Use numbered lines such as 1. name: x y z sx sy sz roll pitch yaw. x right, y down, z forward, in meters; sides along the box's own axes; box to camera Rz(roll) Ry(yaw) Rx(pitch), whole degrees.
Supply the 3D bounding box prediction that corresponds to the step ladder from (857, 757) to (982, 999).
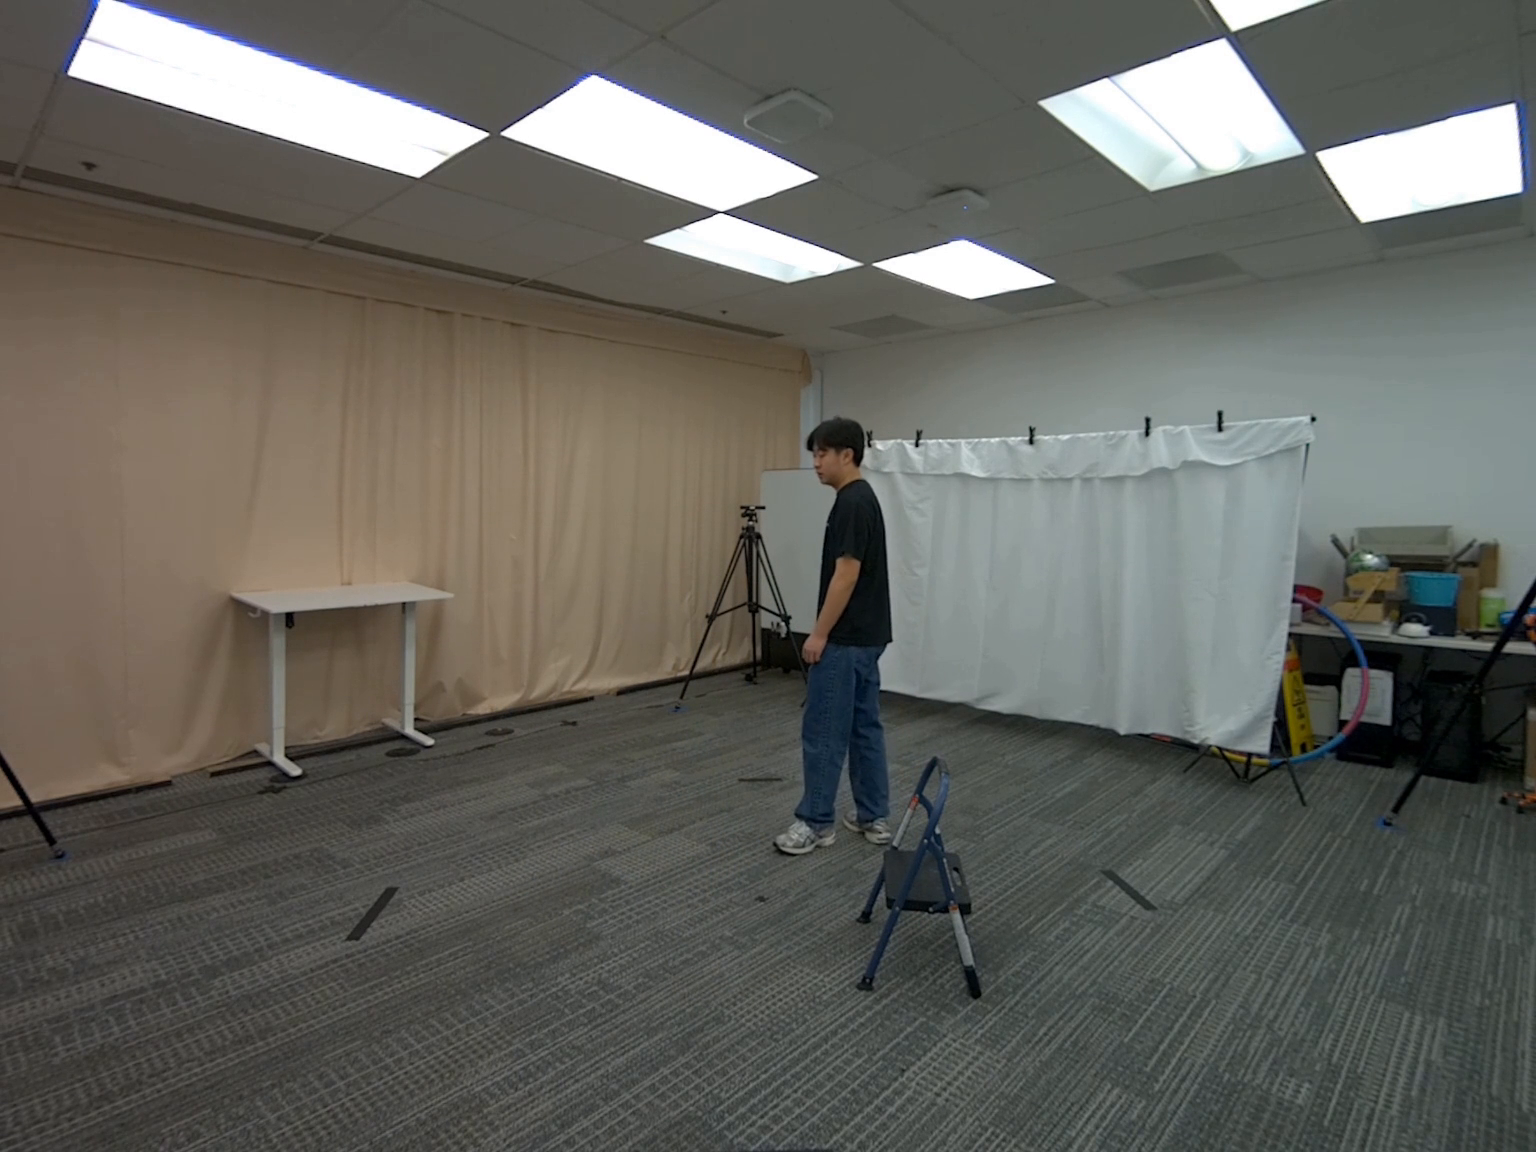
1. step ladder: 0.454 0.872 2.585 0.352 0.604 0.428 0 4 6
